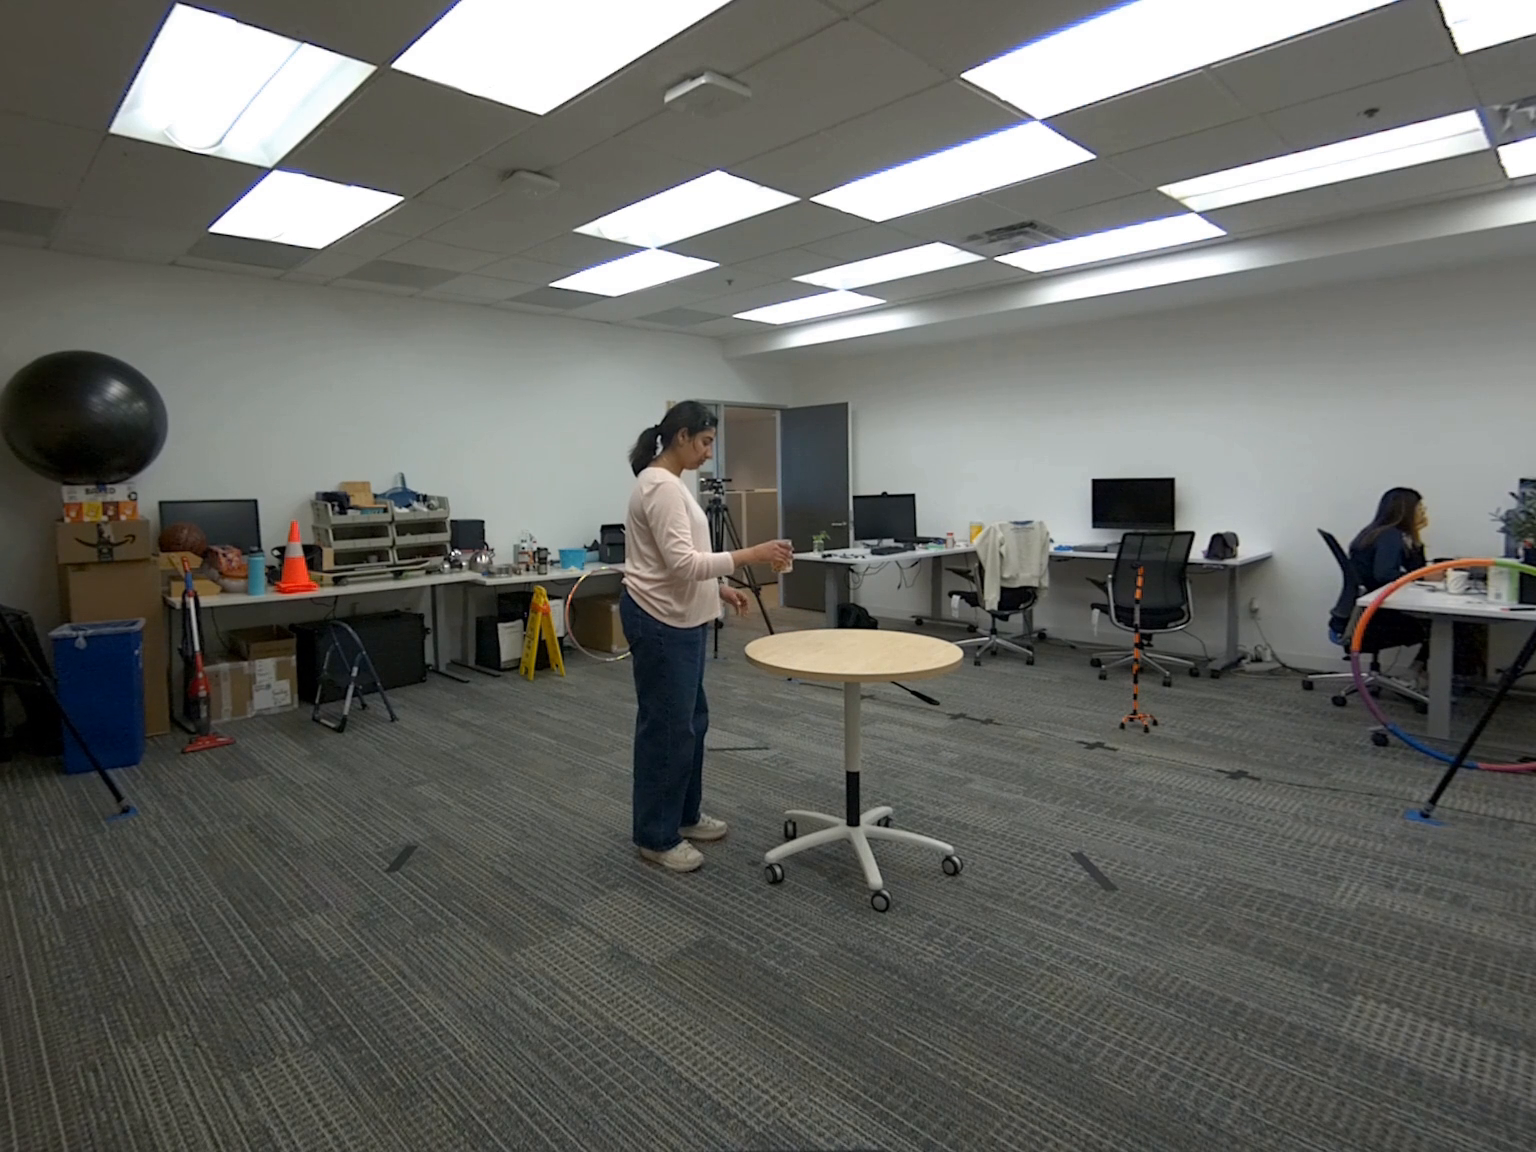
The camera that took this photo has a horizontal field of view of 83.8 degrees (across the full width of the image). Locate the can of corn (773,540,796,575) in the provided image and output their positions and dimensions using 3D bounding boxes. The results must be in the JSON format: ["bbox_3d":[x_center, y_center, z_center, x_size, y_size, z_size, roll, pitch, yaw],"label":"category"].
[{"bbox_3d":[0.055,-0.068,3.056,0.074,0.110,0.075,-2,7,-1],"label":"can of corn"}]
